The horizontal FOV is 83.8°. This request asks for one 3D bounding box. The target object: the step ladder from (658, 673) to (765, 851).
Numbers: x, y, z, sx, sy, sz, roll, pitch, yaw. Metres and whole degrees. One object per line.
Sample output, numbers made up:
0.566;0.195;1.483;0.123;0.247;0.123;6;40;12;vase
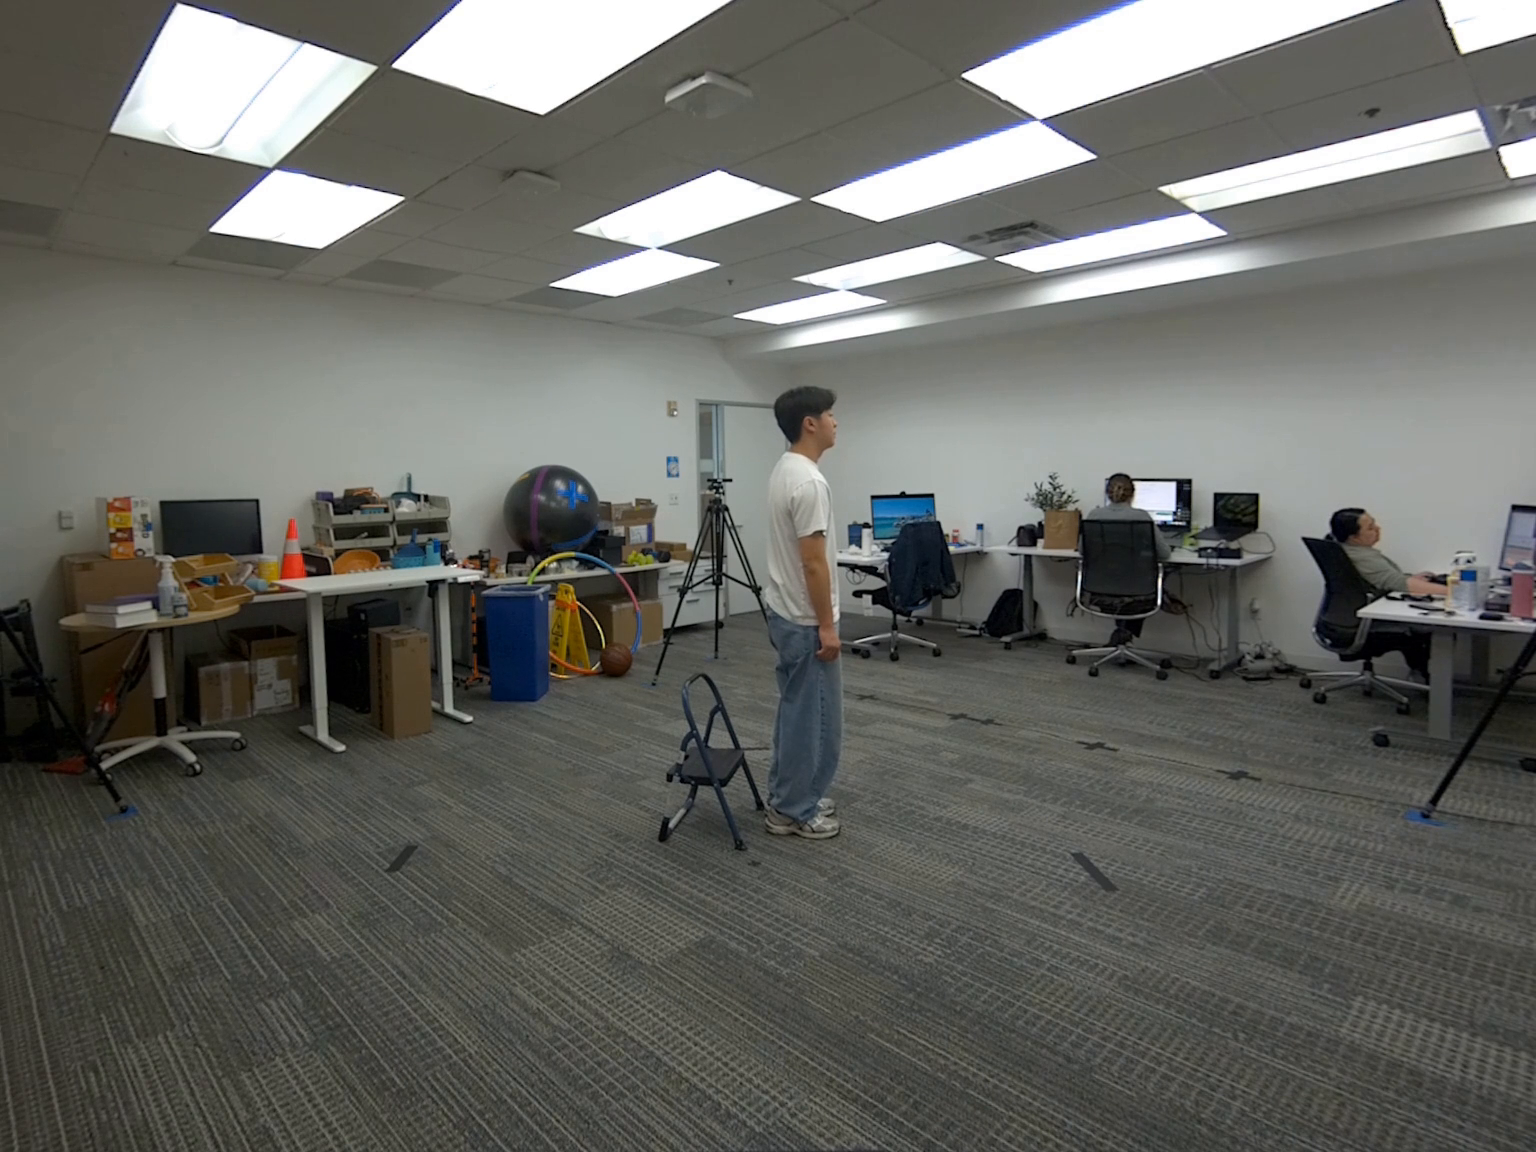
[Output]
-0.220;0.708;3.446;0.354;0.604;0.427;0;4;12;step ladder
